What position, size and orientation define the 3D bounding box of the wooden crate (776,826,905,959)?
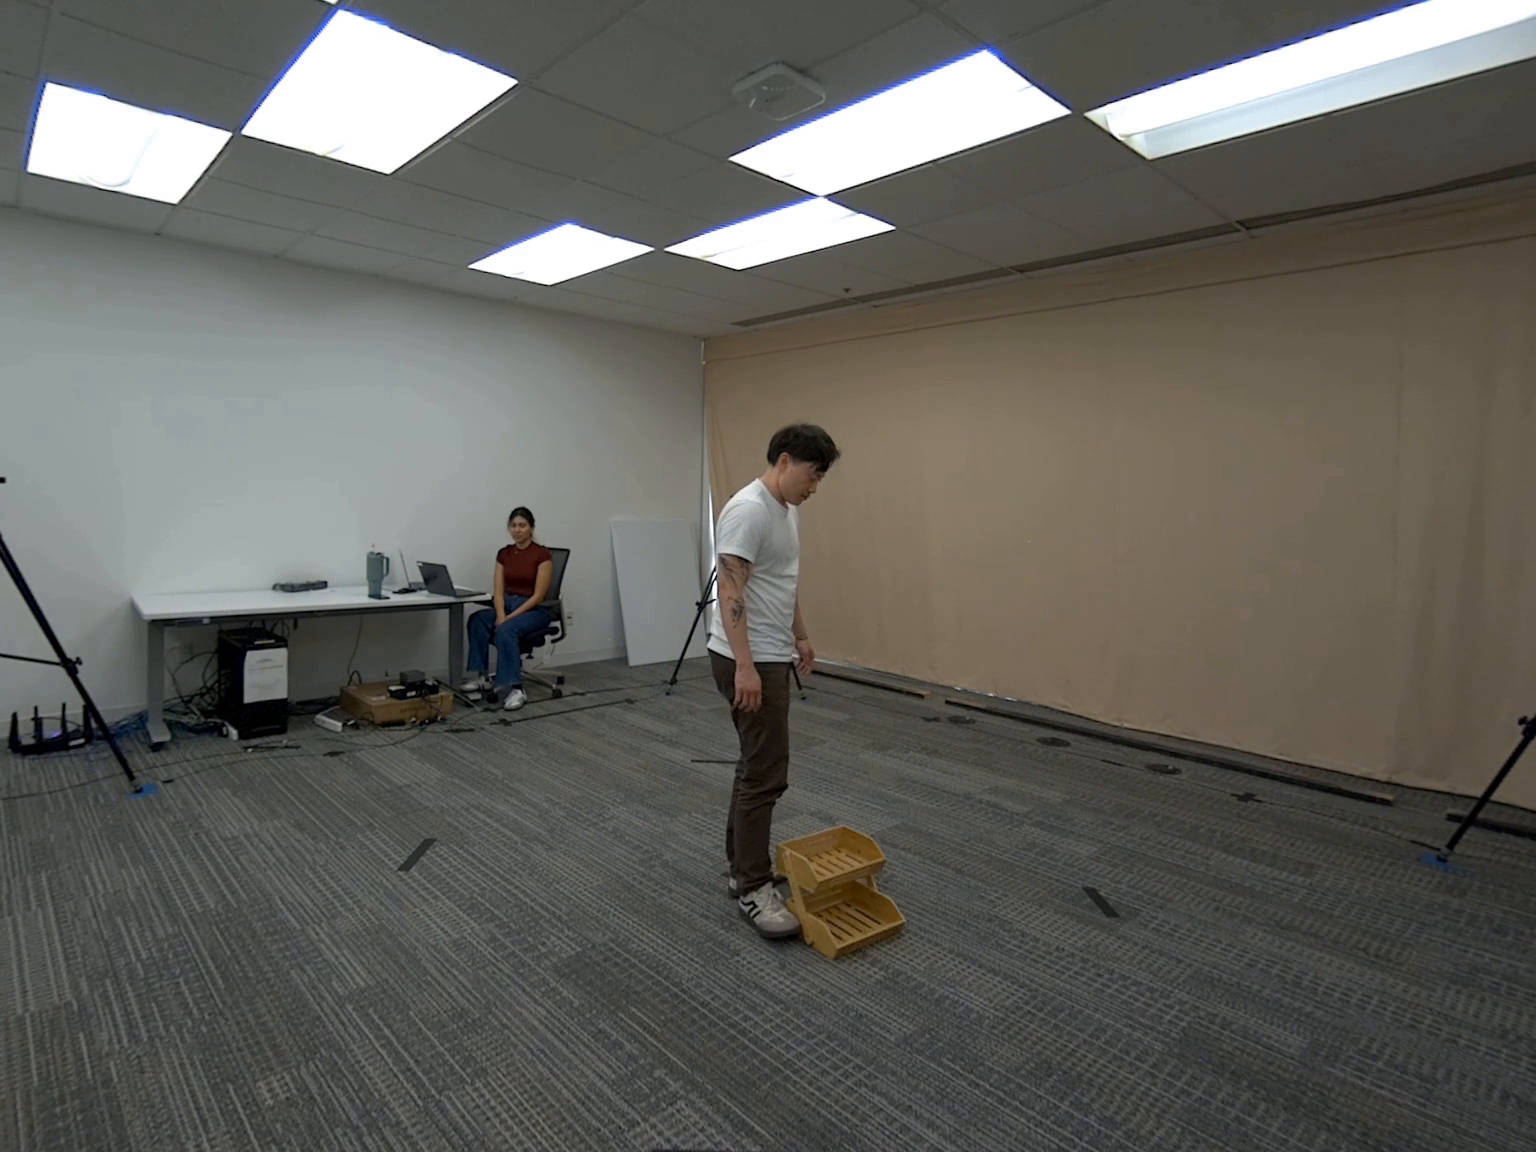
[{"bbox_3d":[0.238,1.014,2.724,0.317,0.272,0.309,-2,5,-37],"label":"wooden crate"}]
